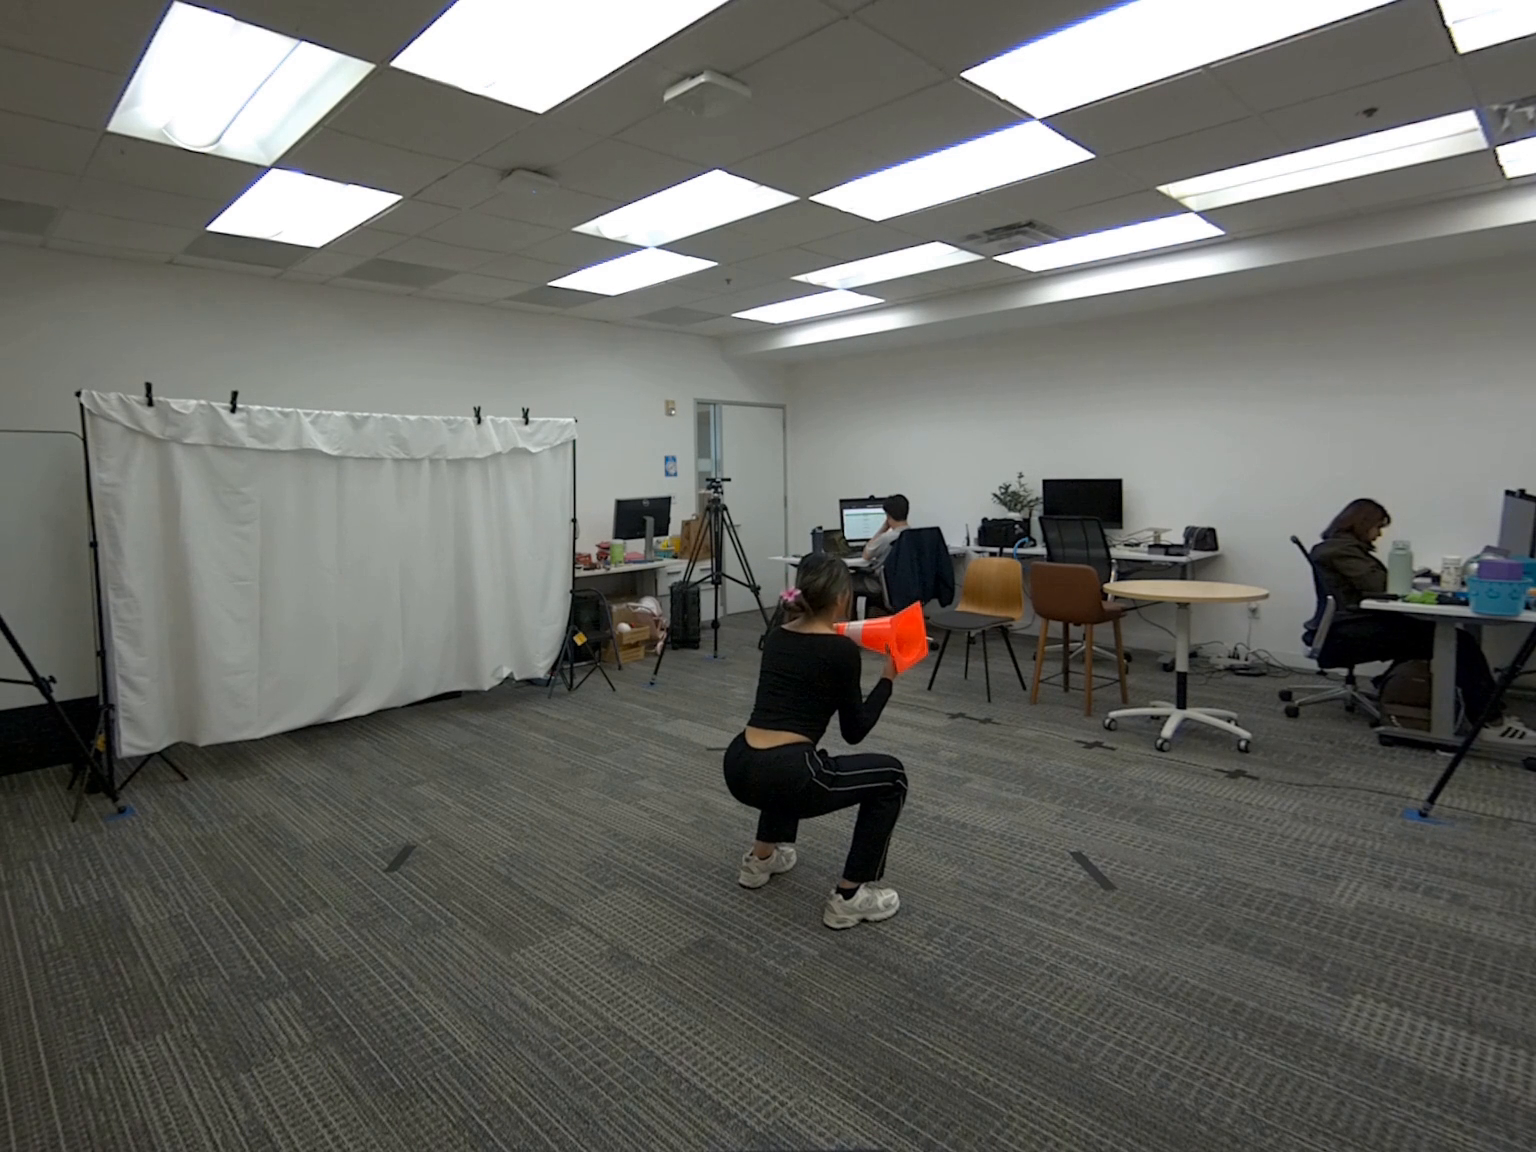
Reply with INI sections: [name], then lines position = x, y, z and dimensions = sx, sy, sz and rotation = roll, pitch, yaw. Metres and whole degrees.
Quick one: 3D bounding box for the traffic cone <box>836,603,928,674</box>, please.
[traffic cone]
position = 0.350, 0.201, 3.069
dimensions = 0.395, 0.202, 0.200
rotation = 2, 17, 45
